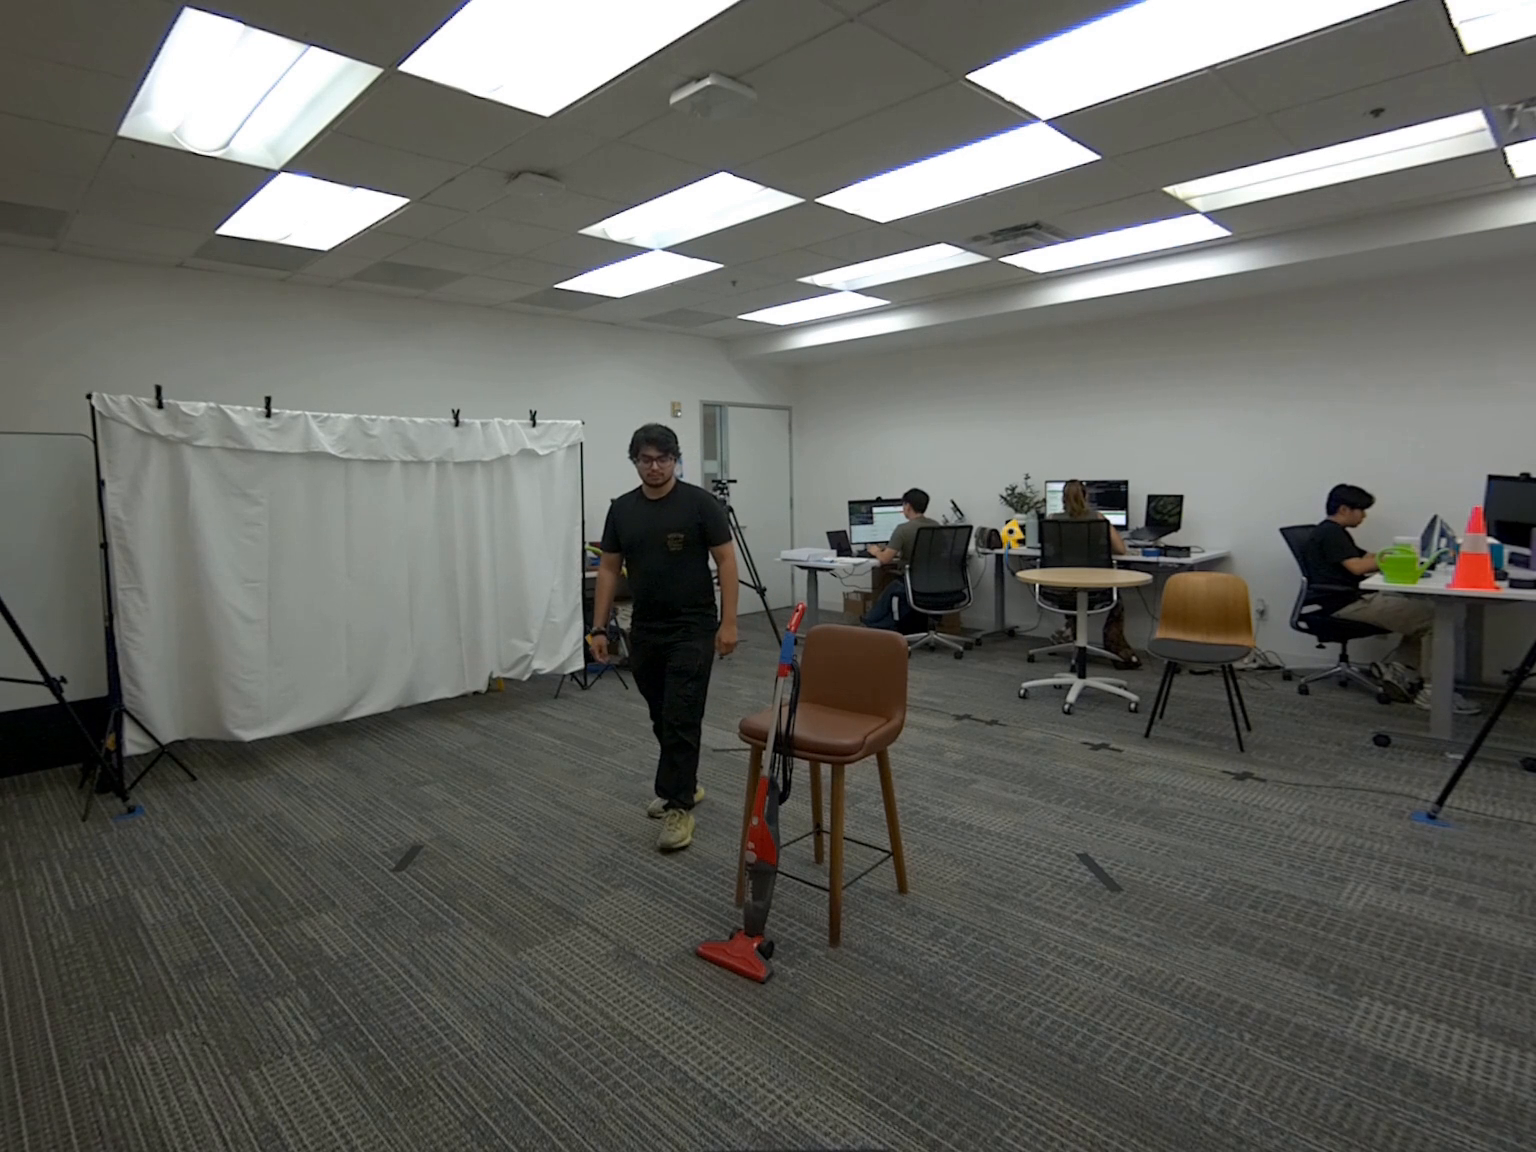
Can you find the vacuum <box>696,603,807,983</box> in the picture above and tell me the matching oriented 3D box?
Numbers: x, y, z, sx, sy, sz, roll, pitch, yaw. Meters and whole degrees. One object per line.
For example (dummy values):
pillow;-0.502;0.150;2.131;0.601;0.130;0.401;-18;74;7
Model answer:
vacuum;0.014;0.609;2.603;0.260;1.058;0.139;2;-14;33
